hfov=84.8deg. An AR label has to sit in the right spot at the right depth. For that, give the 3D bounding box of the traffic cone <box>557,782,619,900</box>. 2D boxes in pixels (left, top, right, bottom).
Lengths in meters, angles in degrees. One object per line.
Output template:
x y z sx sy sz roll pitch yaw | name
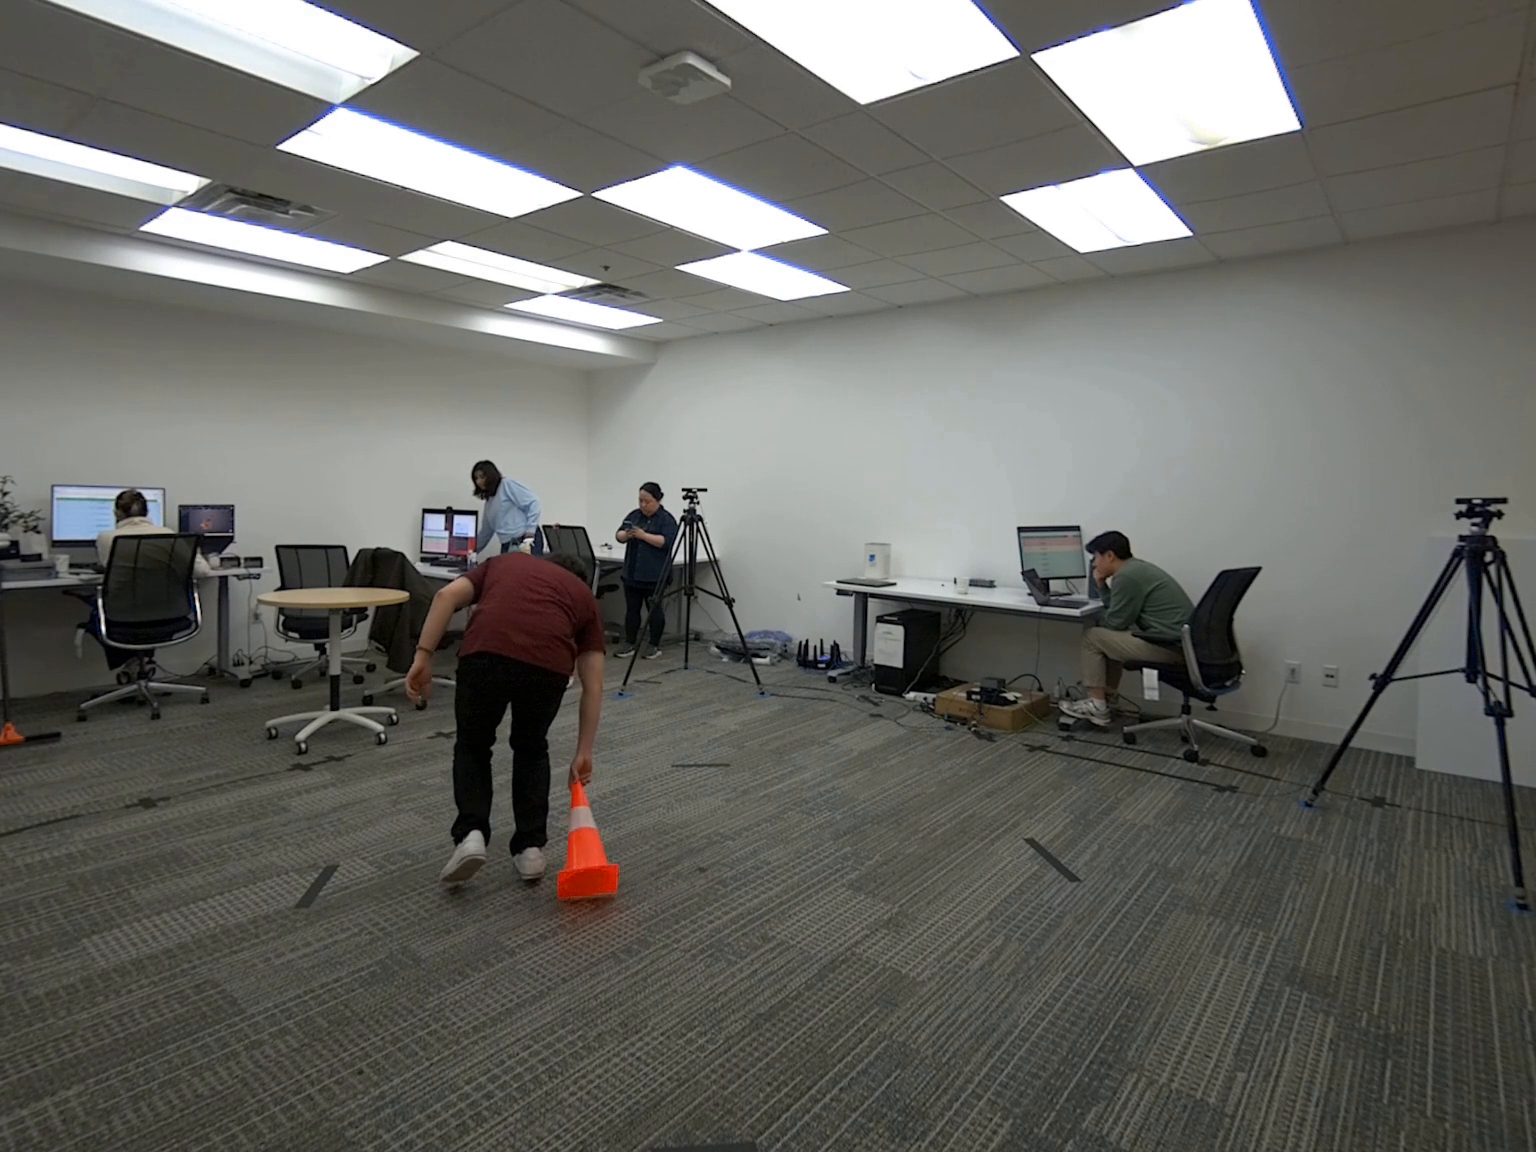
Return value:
-0.659 0.884 2.936 0.203 0.198 0.398 -7 43 -11 | traffic cone
